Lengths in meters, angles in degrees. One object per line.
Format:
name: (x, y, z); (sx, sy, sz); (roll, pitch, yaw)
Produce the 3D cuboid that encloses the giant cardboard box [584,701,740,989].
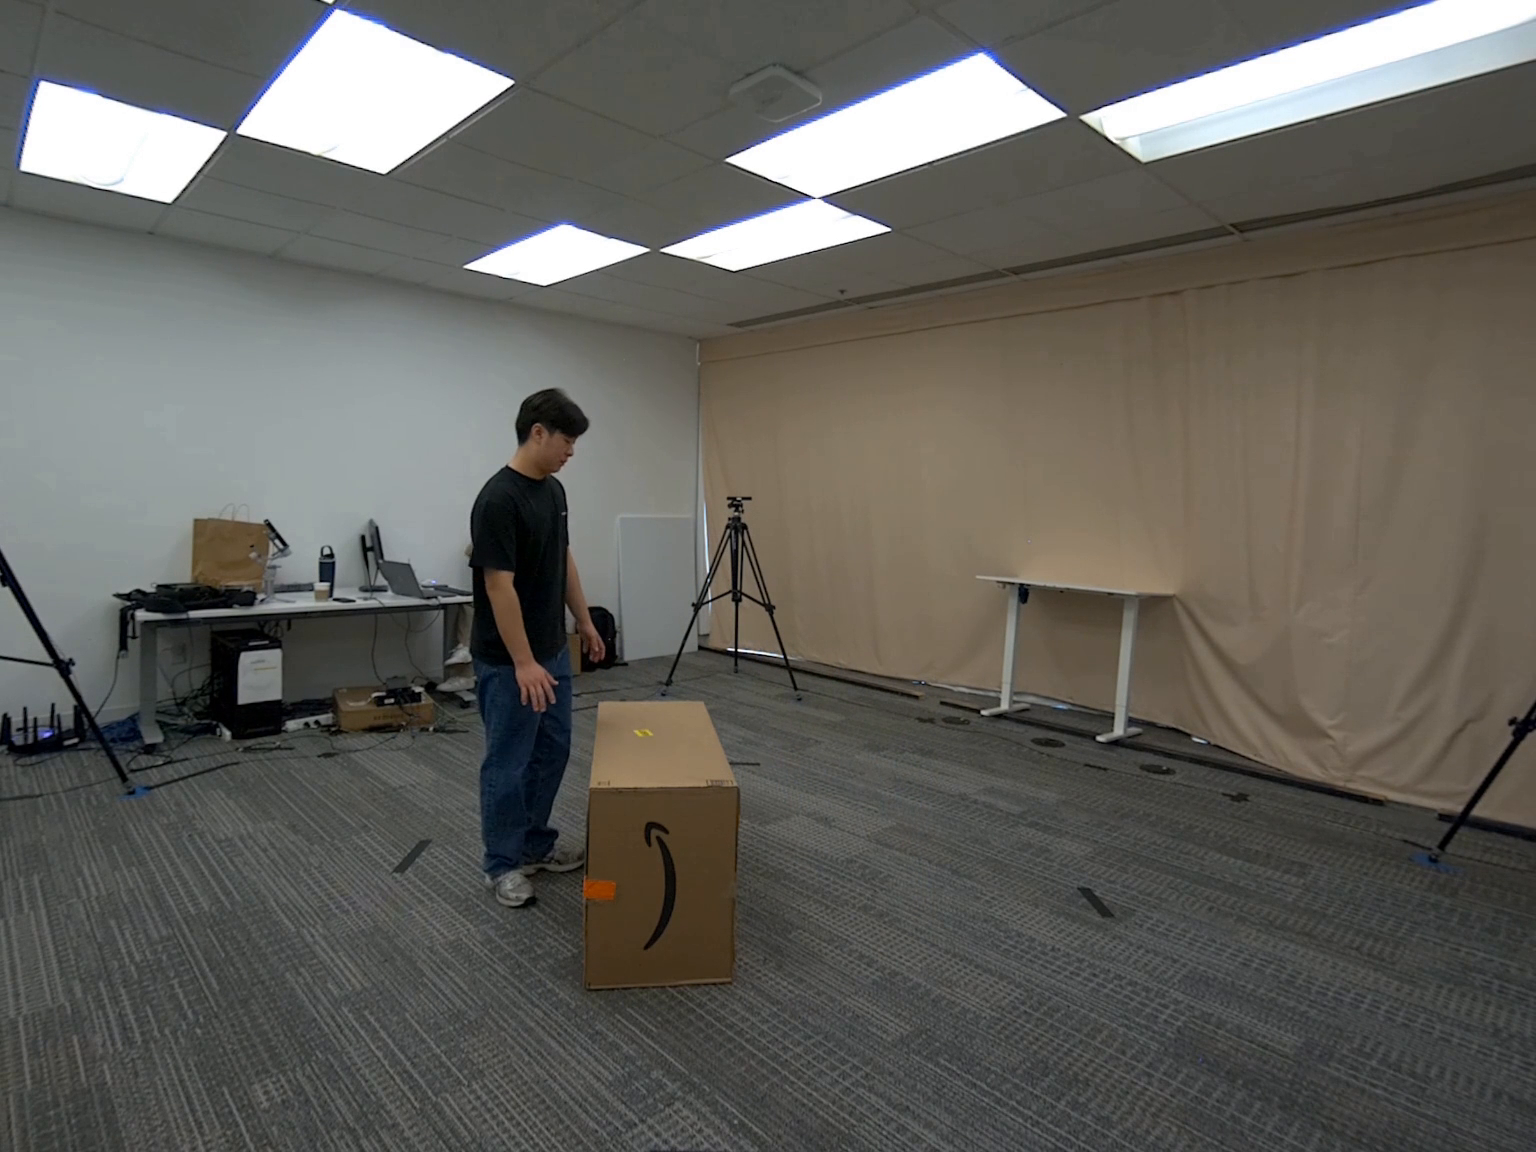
giant cardboard box: (-0.392, 0.834, 2.878); (0.443, 0.582, 1.037); (0, 4, -10)
